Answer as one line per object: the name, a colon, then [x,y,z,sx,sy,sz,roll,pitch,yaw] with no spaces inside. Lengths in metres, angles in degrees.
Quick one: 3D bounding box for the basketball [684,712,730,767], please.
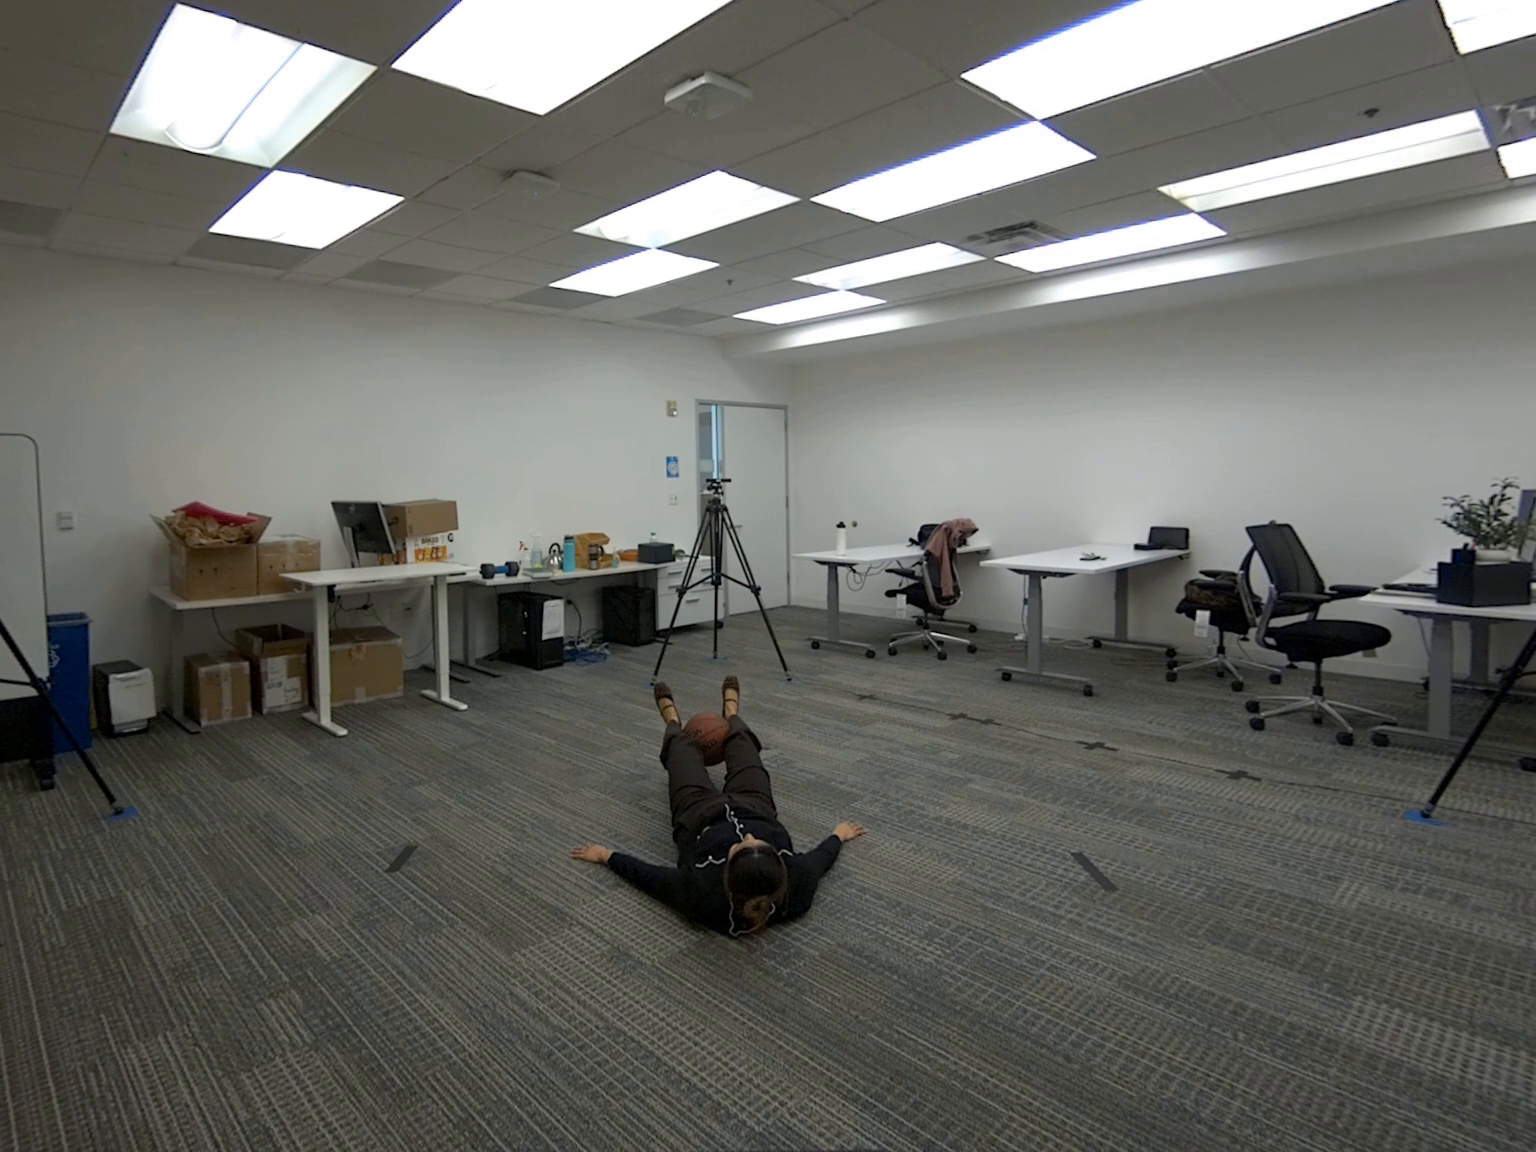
basketball: [-0.269,0.731,3.812,0.236,0.235,0.237,-1,5,-2]
